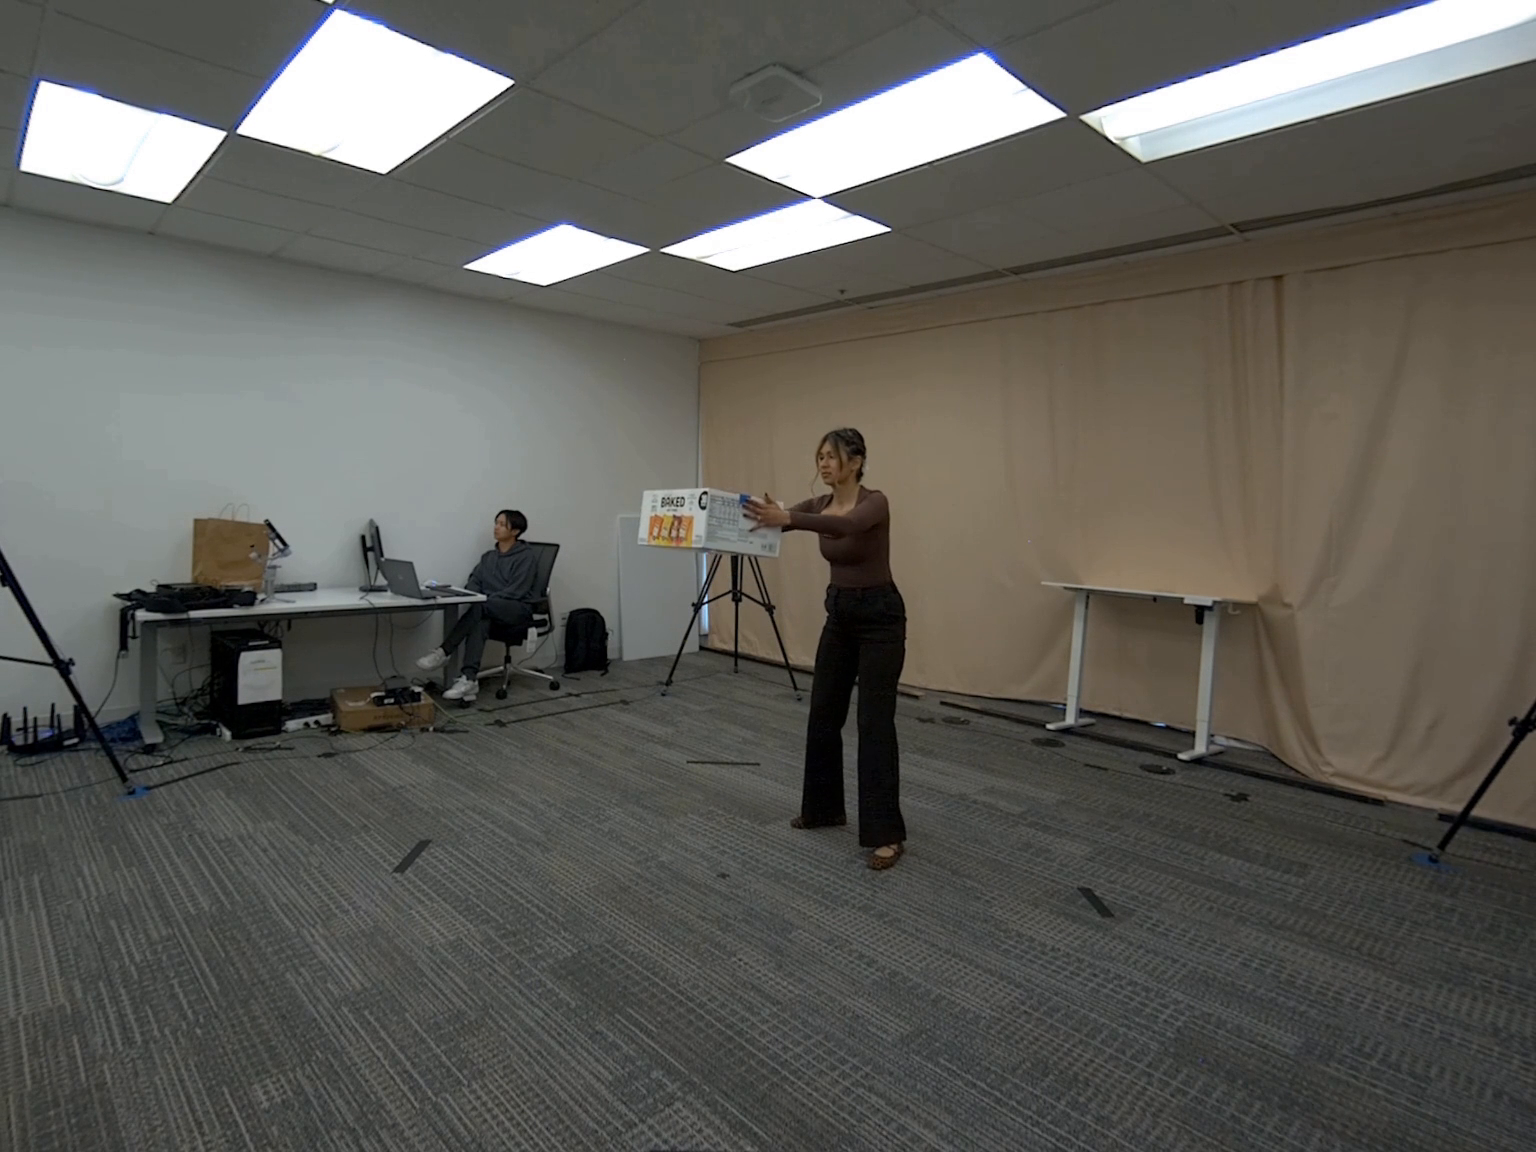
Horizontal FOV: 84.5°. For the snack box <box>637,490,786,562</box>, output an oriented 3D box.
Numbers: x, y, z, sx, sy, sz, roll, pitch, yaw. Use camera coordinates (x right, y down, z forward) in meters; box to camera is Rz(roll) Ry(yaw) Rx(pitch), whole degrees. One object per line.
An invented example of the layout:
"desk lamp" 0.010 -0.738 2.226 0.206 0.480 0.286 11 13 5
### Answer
"snack box" -0.211 -0.181 3.052 0.331 0.206 0.415 7 -1 -40
